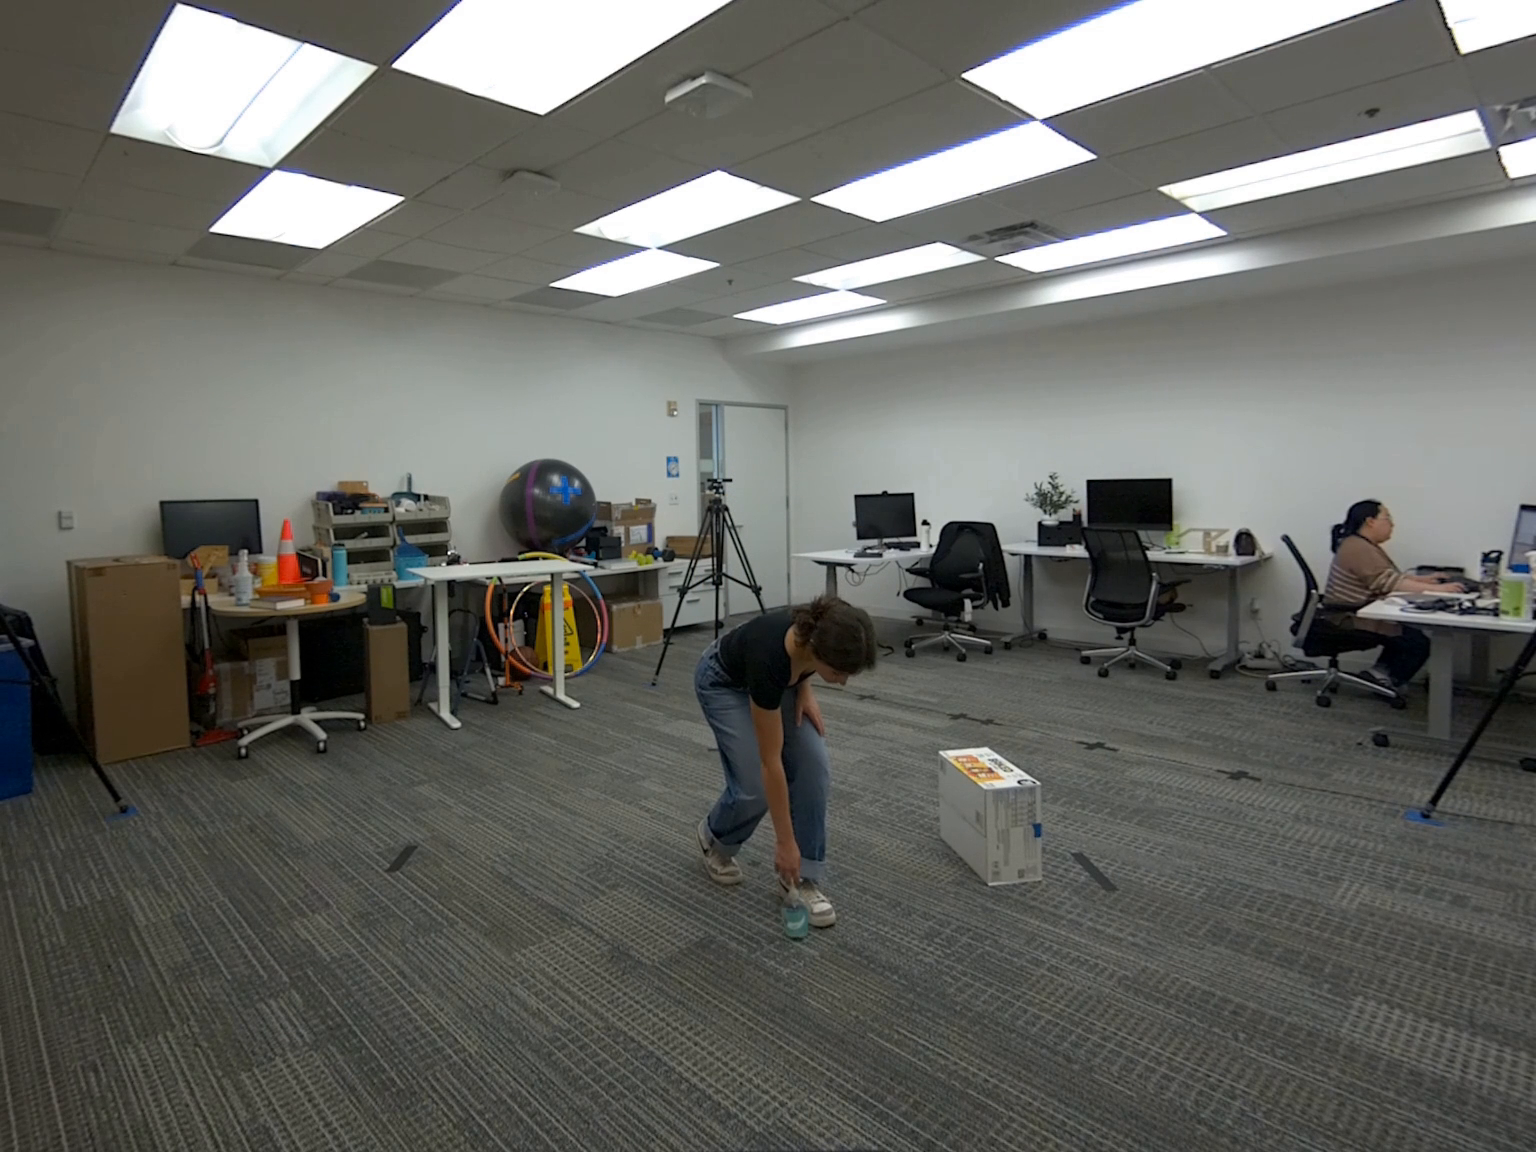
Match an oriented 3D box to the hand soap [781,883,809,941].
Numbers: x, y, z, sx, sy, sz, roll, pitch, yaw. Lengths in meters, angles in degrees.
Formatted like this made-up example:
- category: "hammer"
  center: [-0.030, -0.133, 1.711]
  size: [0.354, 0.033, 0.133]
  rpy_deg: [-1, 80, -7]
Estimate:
- category: "hand soap"
  center: [0.083, 1.006, 2.608]
  size: [0.085, 0.170, 0.042]
  rpy_deg: [-3, -11, 6]
